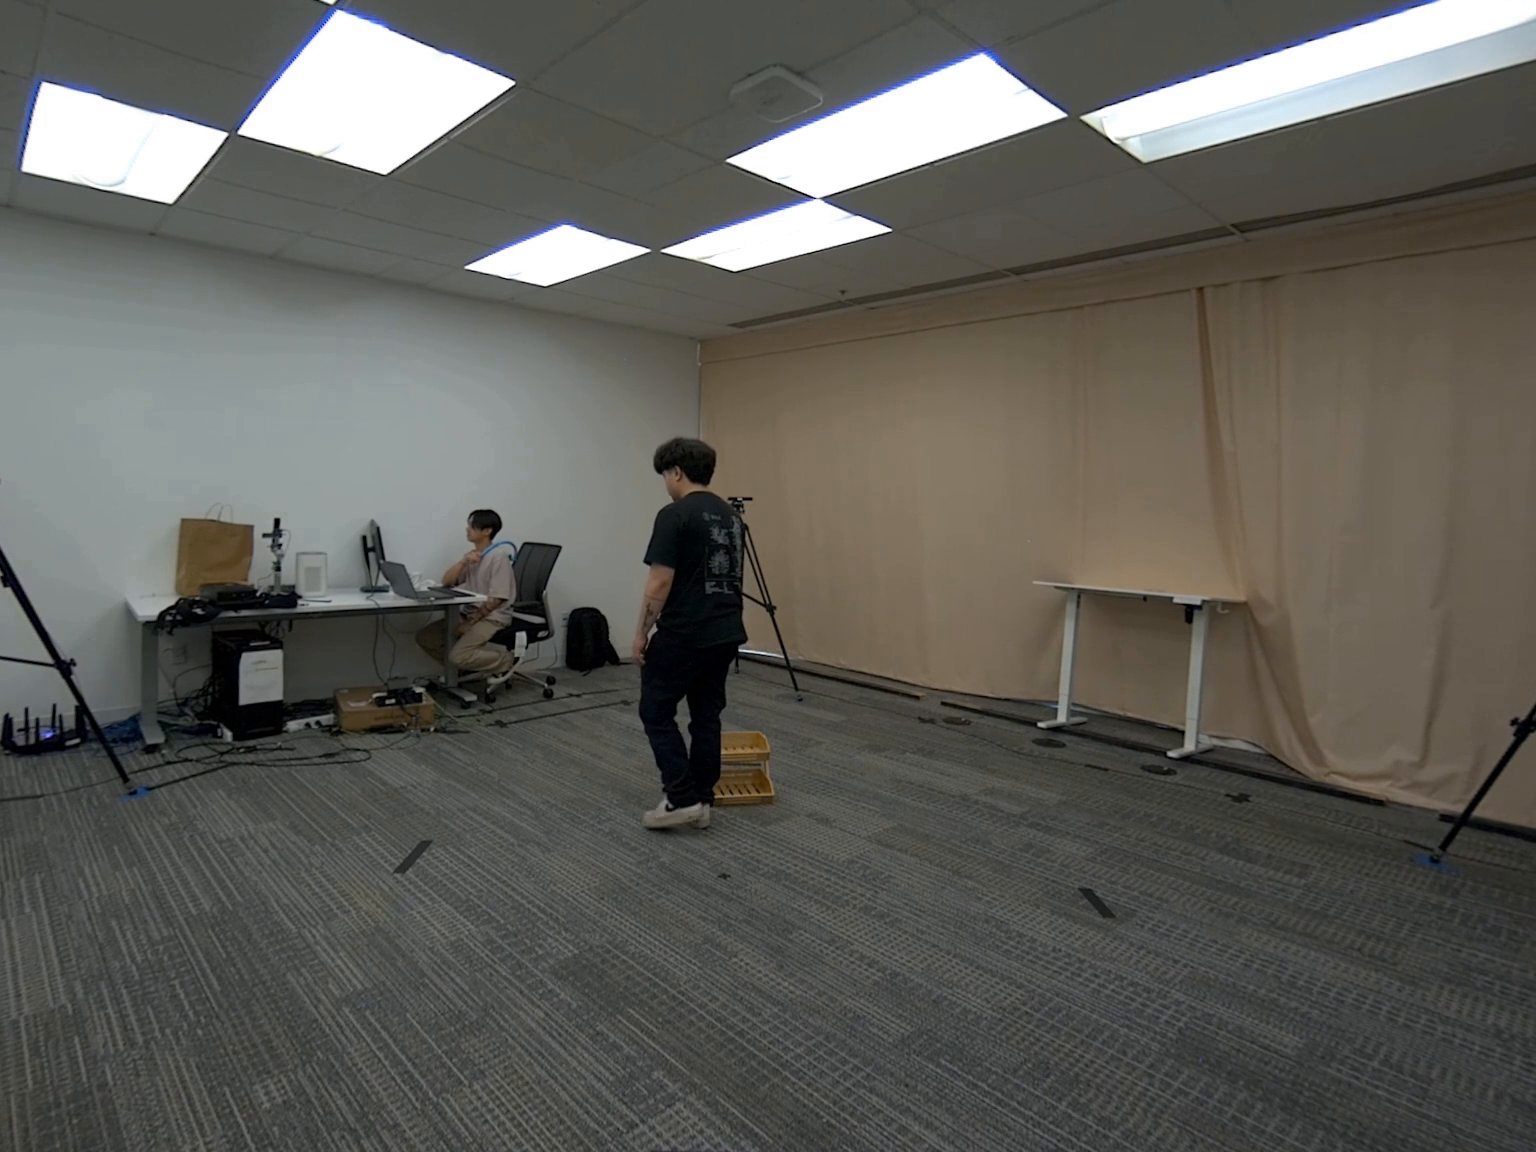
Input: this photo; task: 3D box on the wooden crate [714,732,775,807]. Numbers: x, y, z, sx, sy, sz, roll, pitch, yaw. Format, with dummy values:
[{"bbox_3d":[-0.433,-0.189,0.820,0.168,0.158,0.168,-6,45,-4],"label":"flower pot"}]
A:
[{"bbox_3d":[-0.163,0.897,3.965,0.321,0.273,0.306,1,4,-14],"label":"wooden crate"}]
